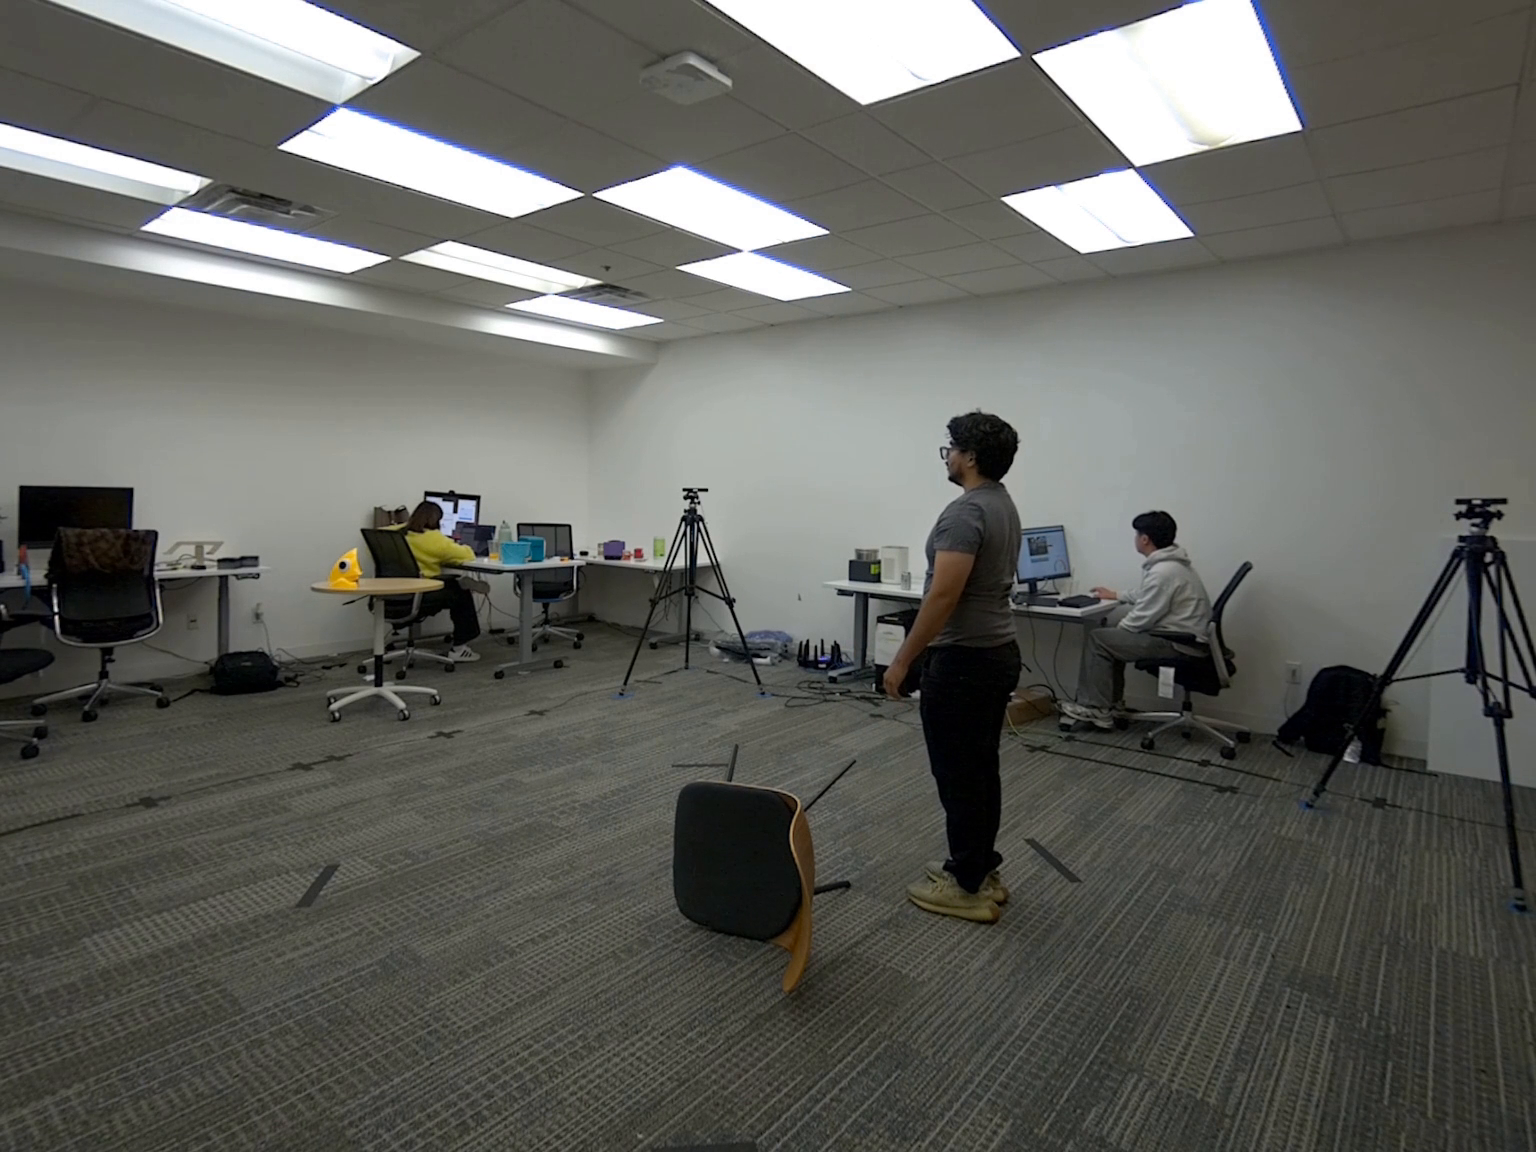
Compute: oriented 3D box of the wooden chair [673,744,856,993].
[{"bbox_3d":[-0.053,0.880,2.675,0.531,0.476,0.867,3,5,13],"label":"wooden chair"}]
